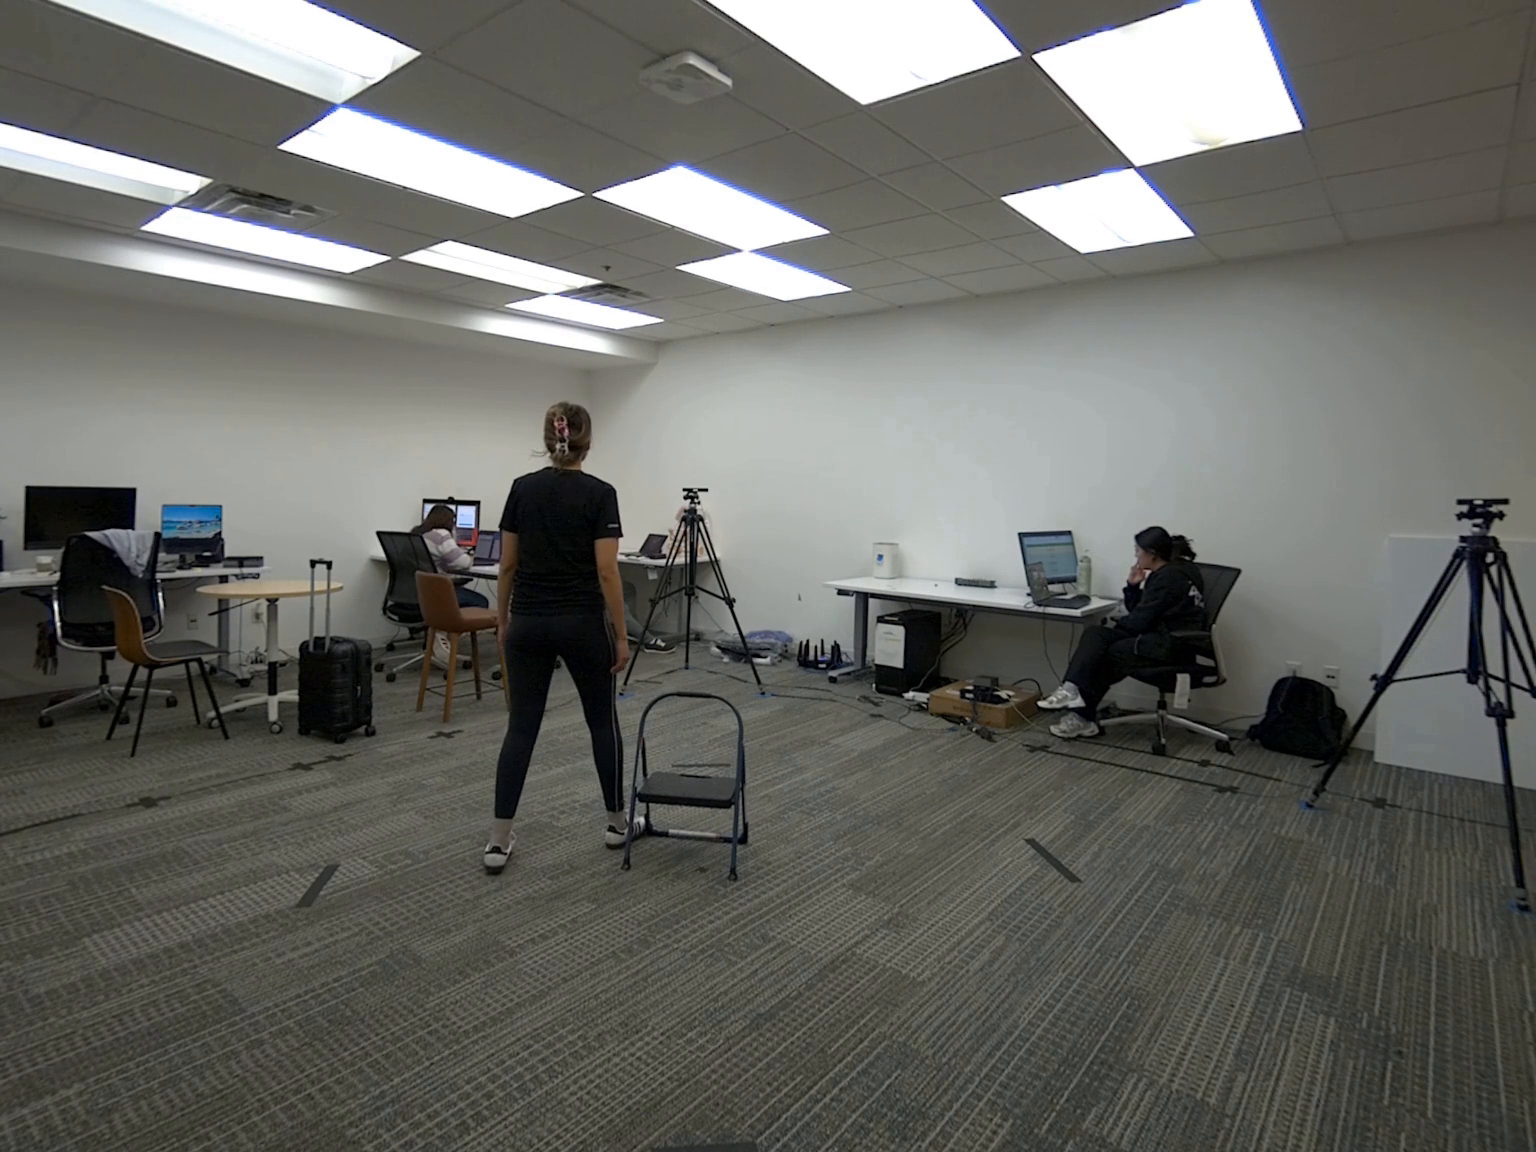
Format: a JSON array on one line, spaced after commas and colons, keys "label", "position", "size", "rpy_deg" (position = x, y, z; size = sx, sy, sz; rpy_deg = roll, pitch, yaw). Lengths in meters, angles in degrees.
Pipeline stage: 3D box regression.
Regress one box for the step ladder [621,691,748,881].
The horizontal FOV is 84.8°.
[{"label": "step ladder", "position": [-0.305, 0.759, 3.215], "size": [0.435, 0.604, 0.347], "rpy_deg": [1, 4, 9]}]
